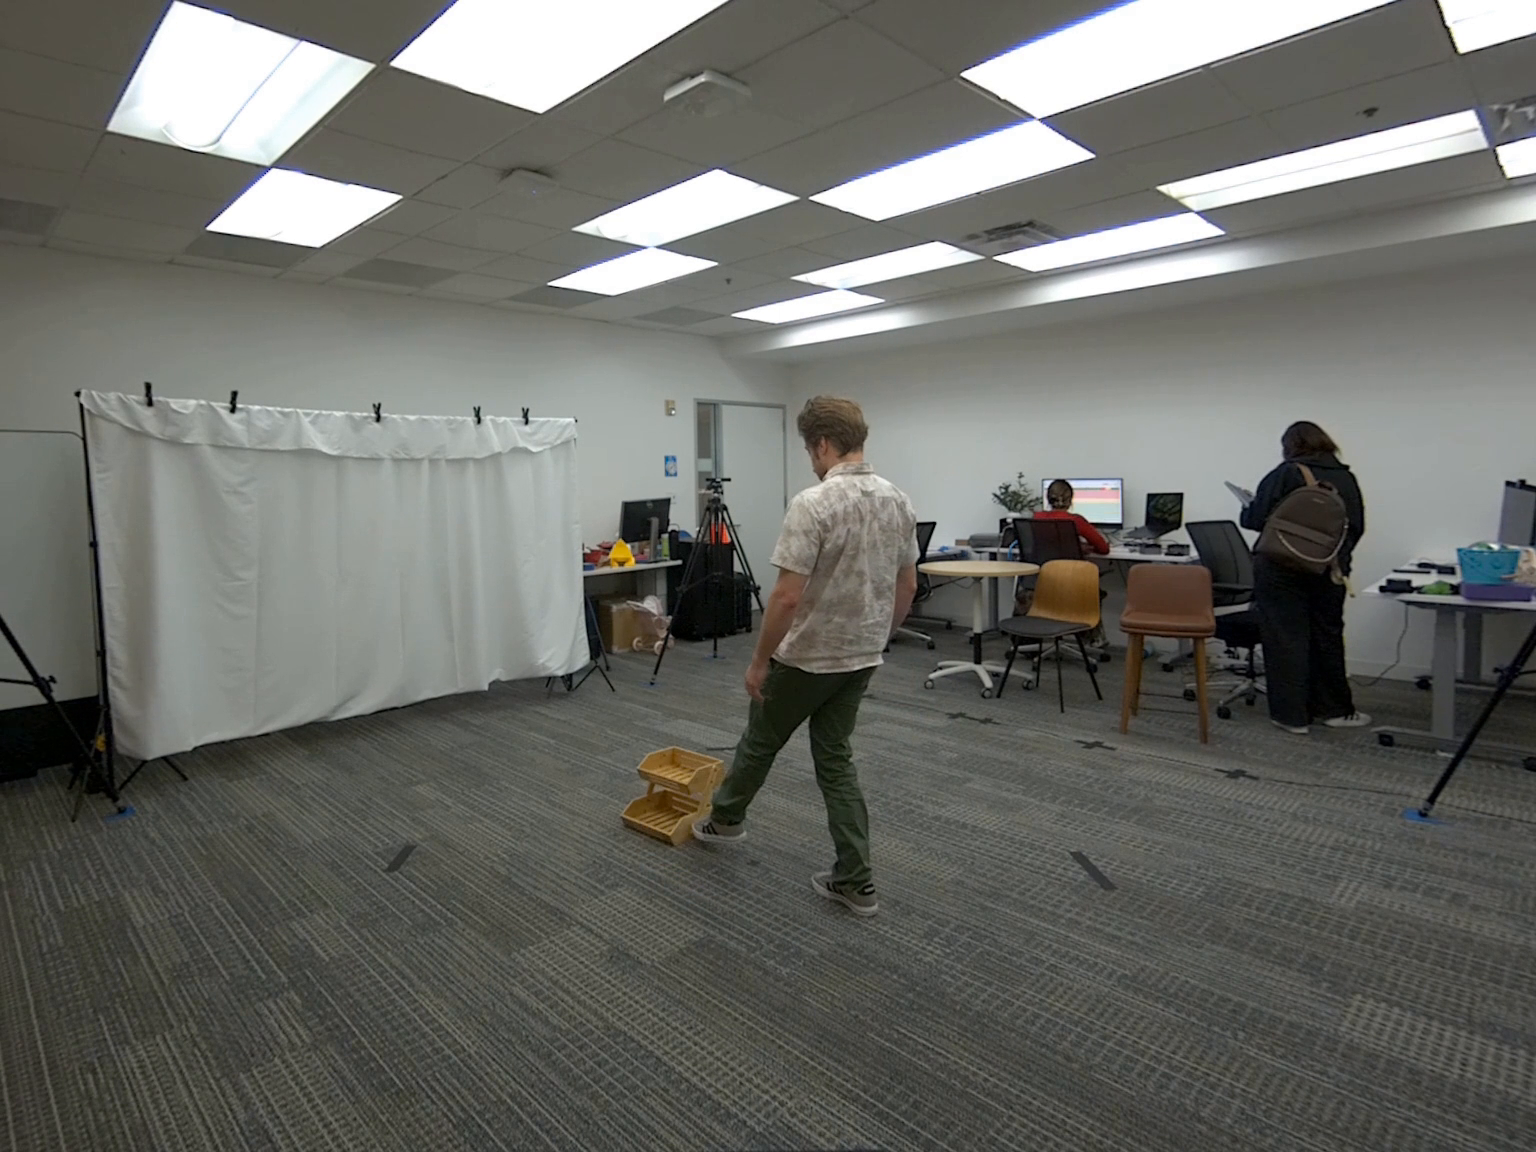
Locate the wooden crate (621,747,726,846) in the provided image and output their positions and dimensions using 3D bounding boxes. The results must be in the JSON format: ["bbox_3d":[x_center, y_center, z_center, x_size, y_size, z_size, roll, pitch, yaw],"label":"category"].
[{"bbox_3d":[-0.384,0.876,3.441,0.334,0.272,0.294,3,6,43],"label":"wooden crate"}]
